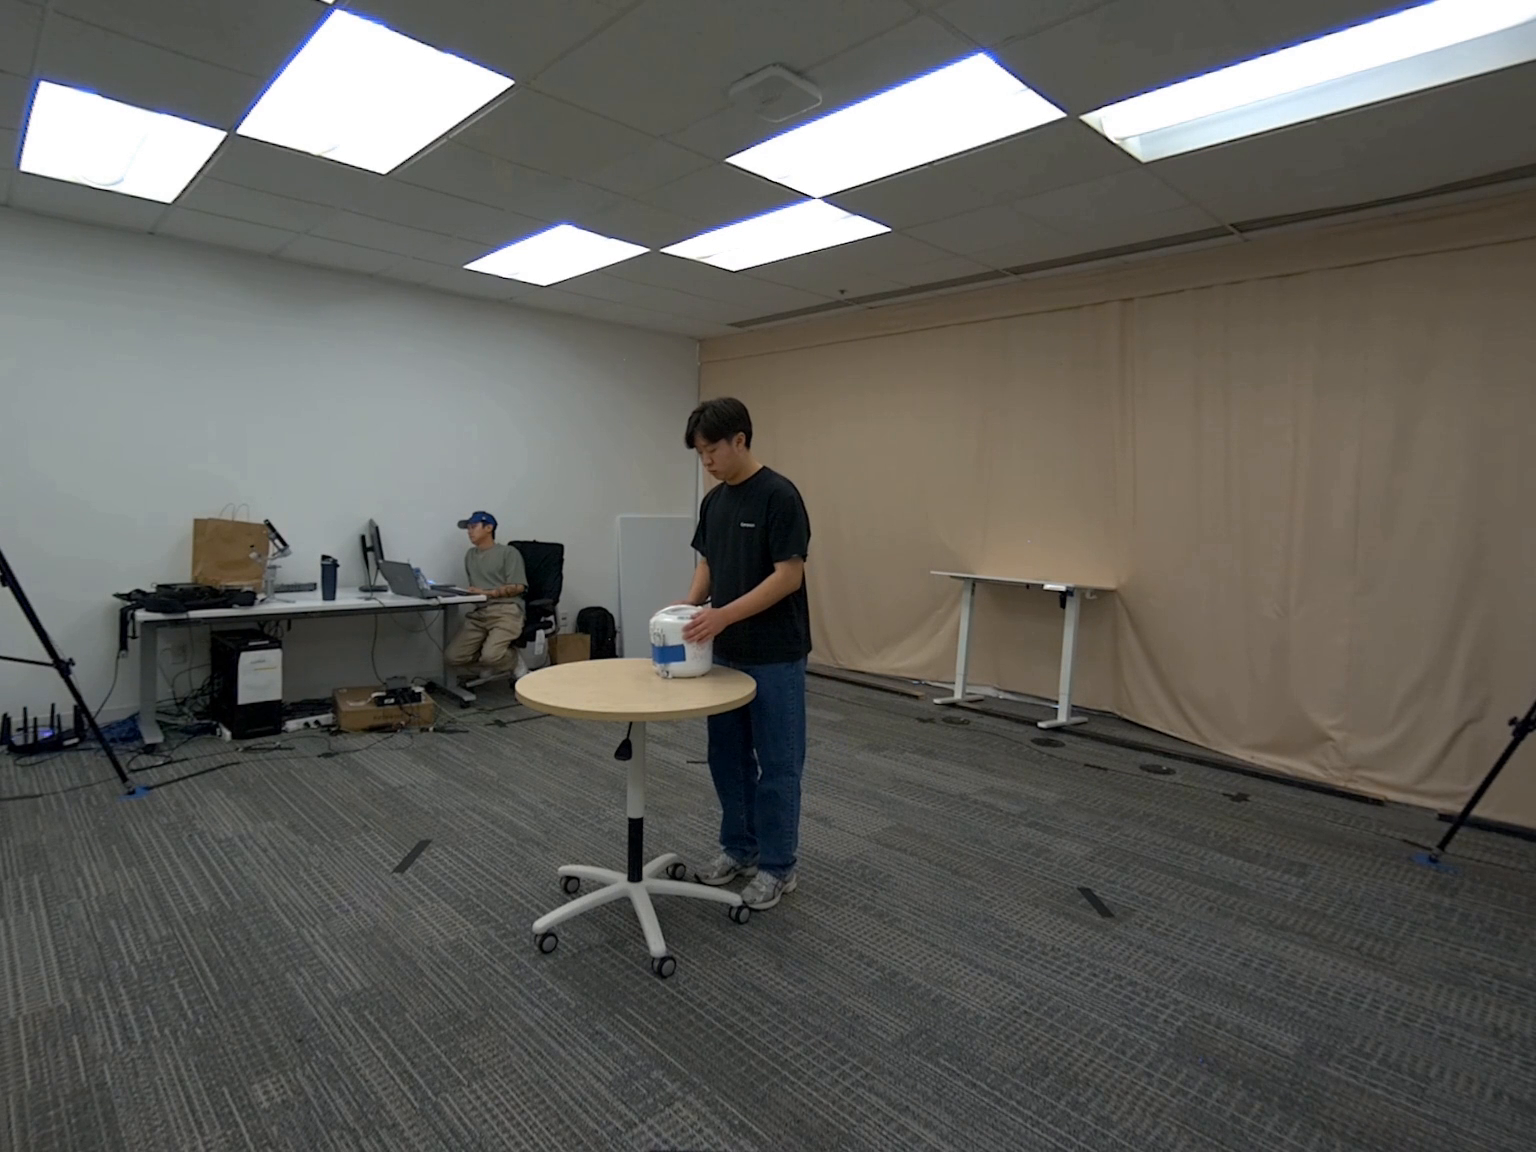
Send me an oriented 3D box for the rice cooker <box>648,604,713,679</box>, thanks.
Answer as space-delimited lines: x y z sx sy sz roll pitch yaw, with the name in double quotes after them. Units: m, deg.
-0.294 0.215 2.846 0.218 0.232 0.220 1 5 -11 "rice cooker"
